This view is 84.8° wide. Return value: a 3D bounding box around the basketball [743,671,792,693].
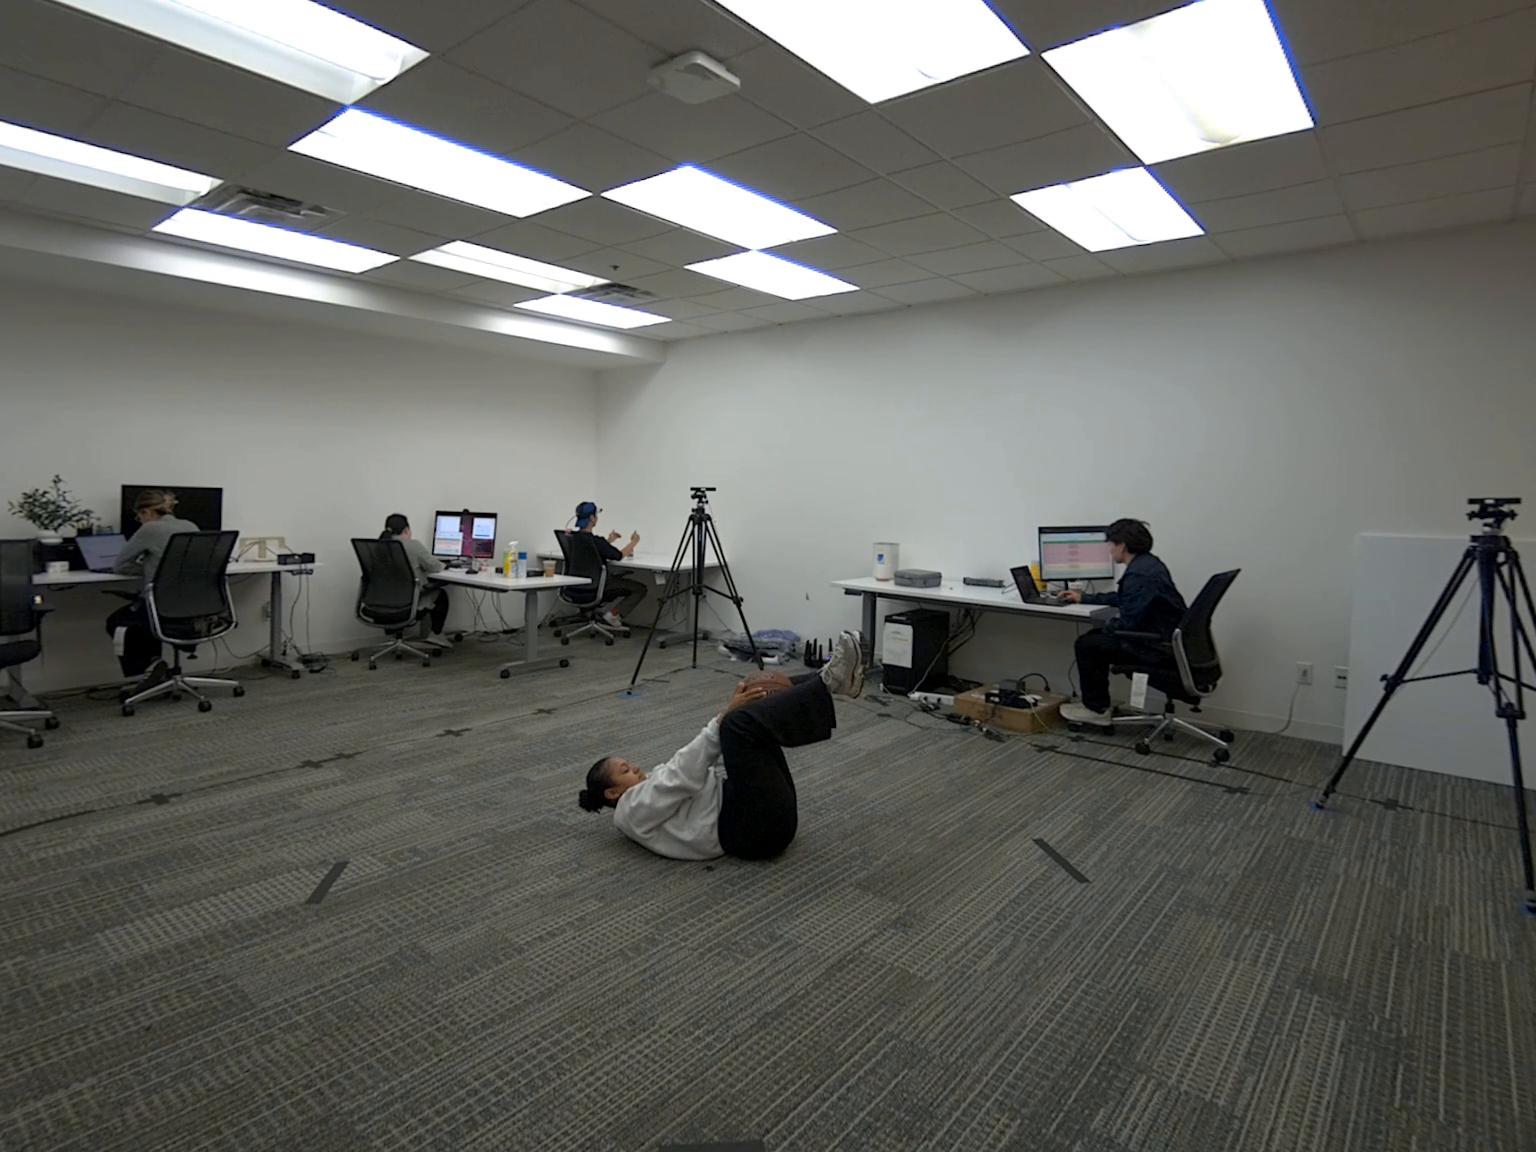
[{"bbox_3d":[-0.010,0.484,3.323,0.236,0.235,0.237,0,4,-2],"label":"basketball"}]
